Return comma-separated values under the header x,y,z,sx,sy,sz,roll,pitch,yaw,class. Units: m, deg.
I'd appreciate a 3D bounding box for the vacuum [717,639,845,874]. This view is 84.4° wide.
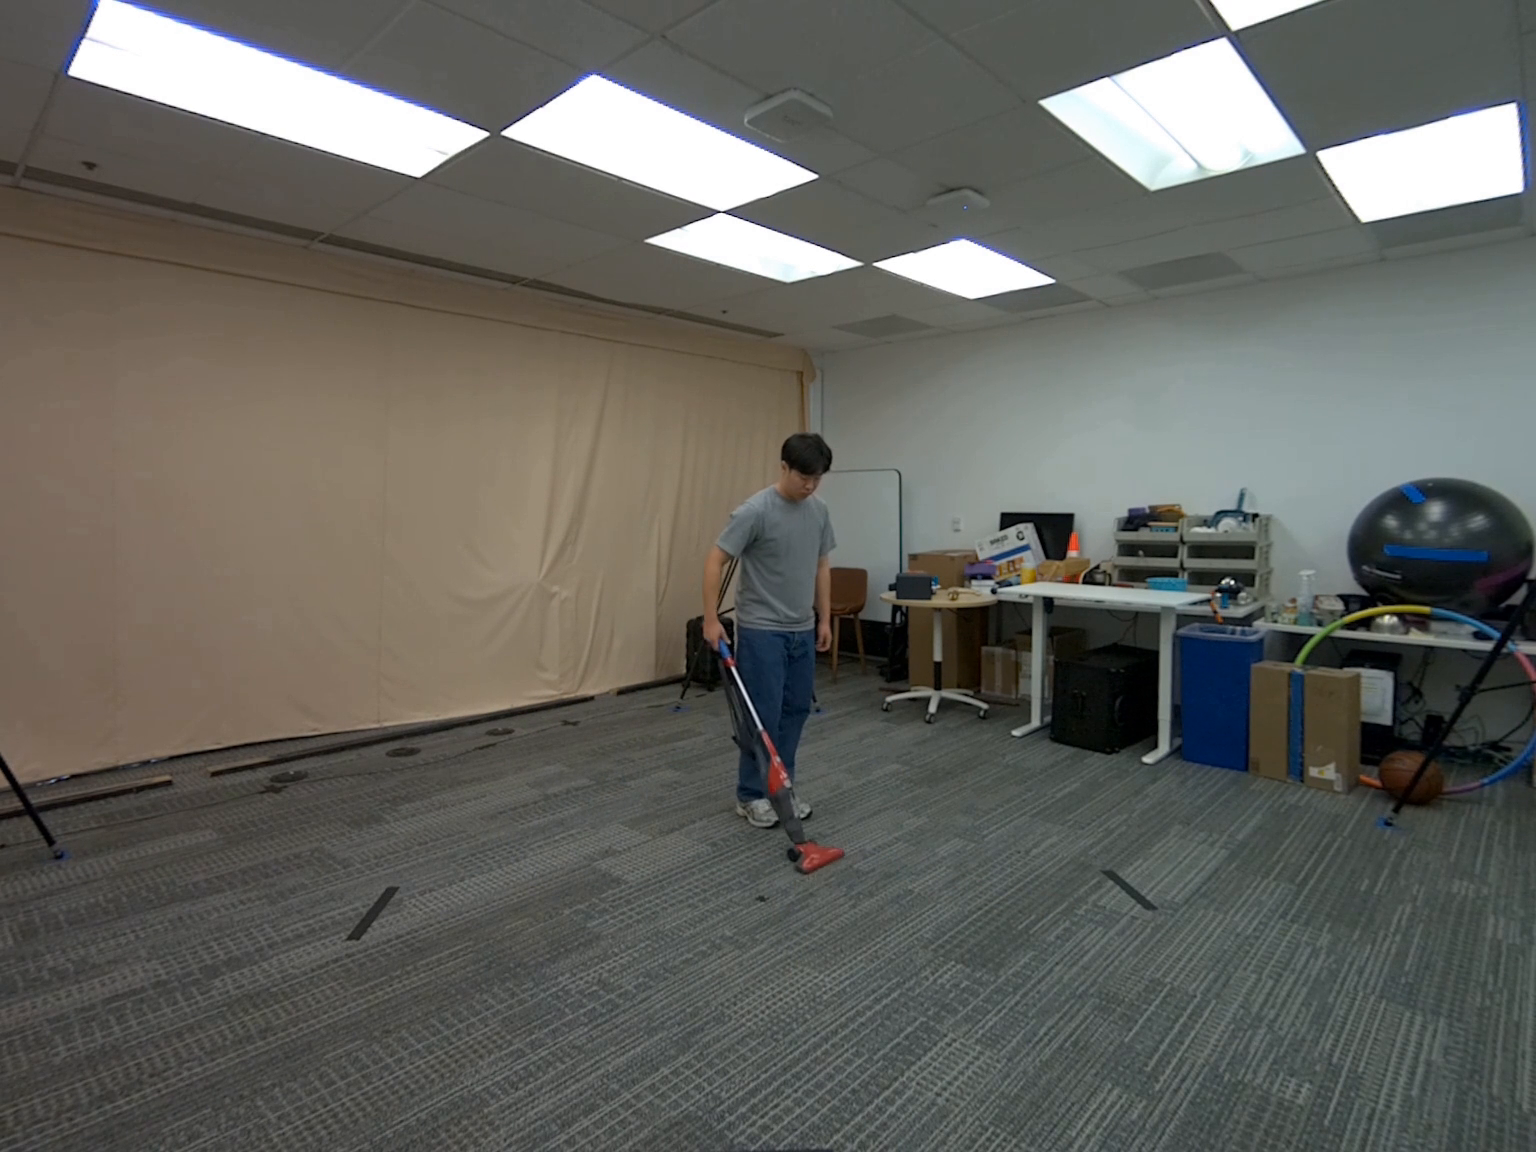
x,y,z,sx,sy,sz,roll,pitch,yaw,class
-0.029,0.670,3.485,0.244,1.072,0.145,0,-34,-49,vacuum
